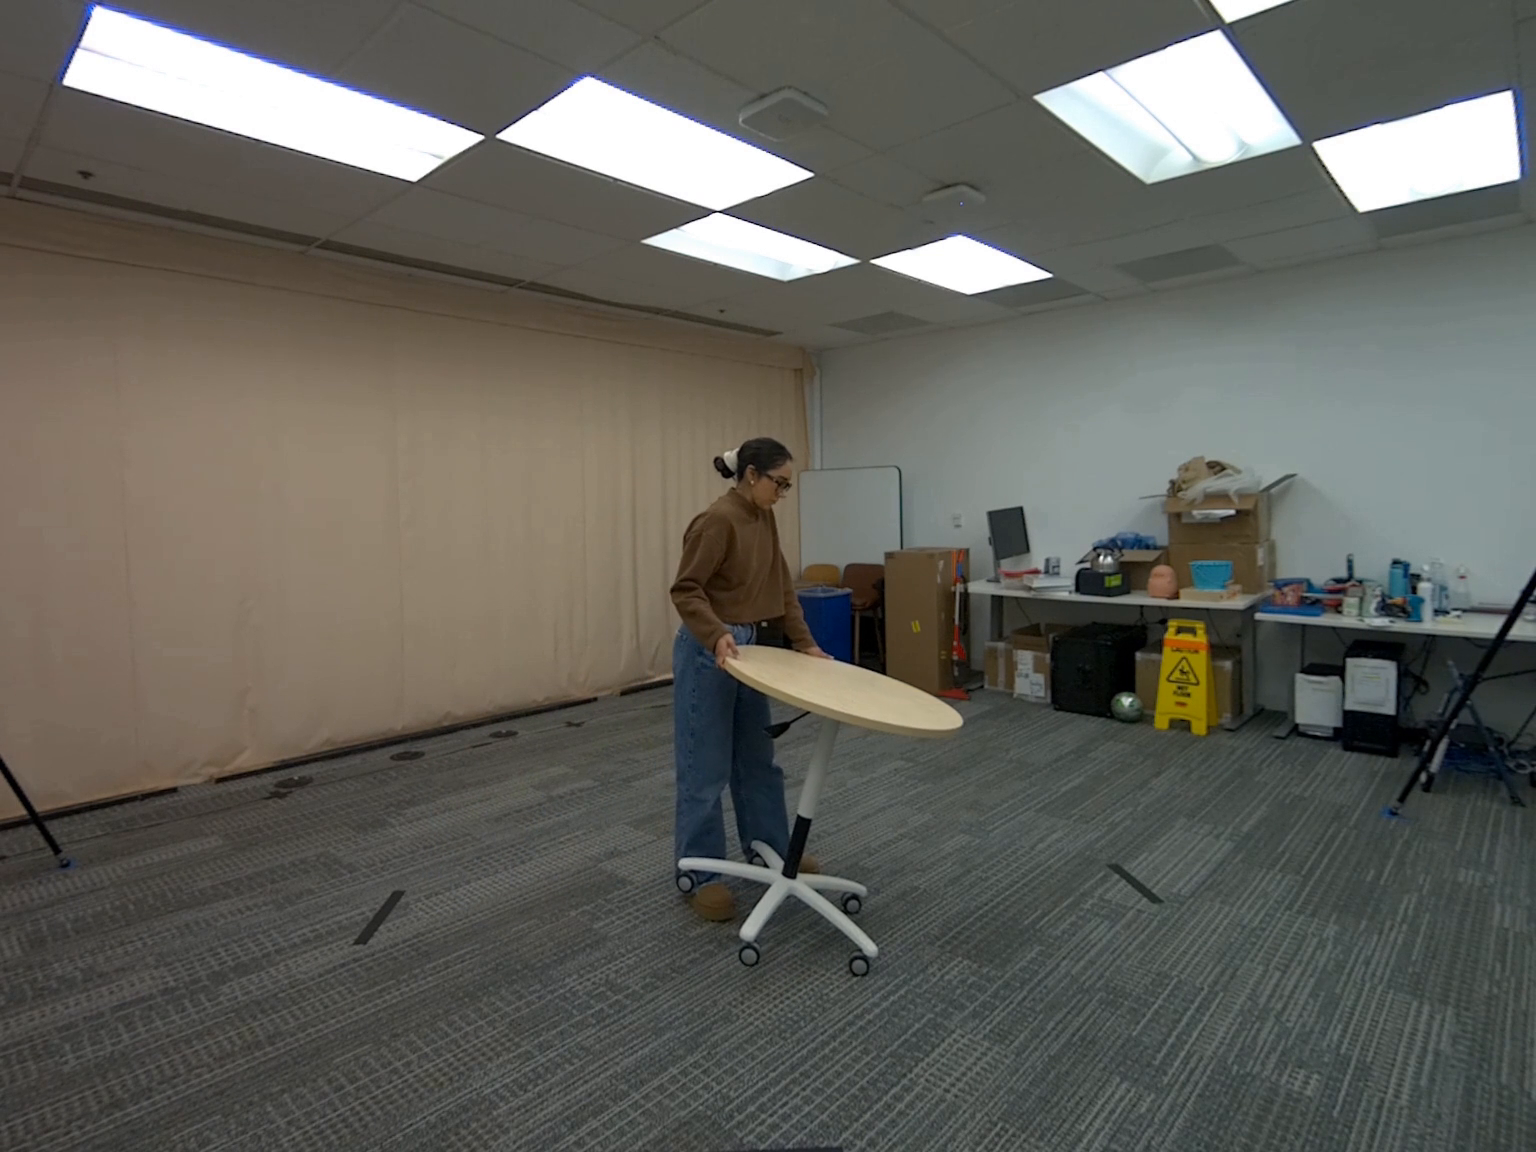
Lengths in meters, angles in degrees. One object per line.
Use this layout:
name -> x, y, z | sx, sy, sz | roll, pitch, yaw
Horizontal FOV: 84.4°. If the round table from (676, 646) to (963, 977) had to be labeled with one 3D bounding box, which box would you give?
round table -> 0.132, 0.720, 2.673 | 0.762, 0.792, 0.768 | 14, 5, -3
